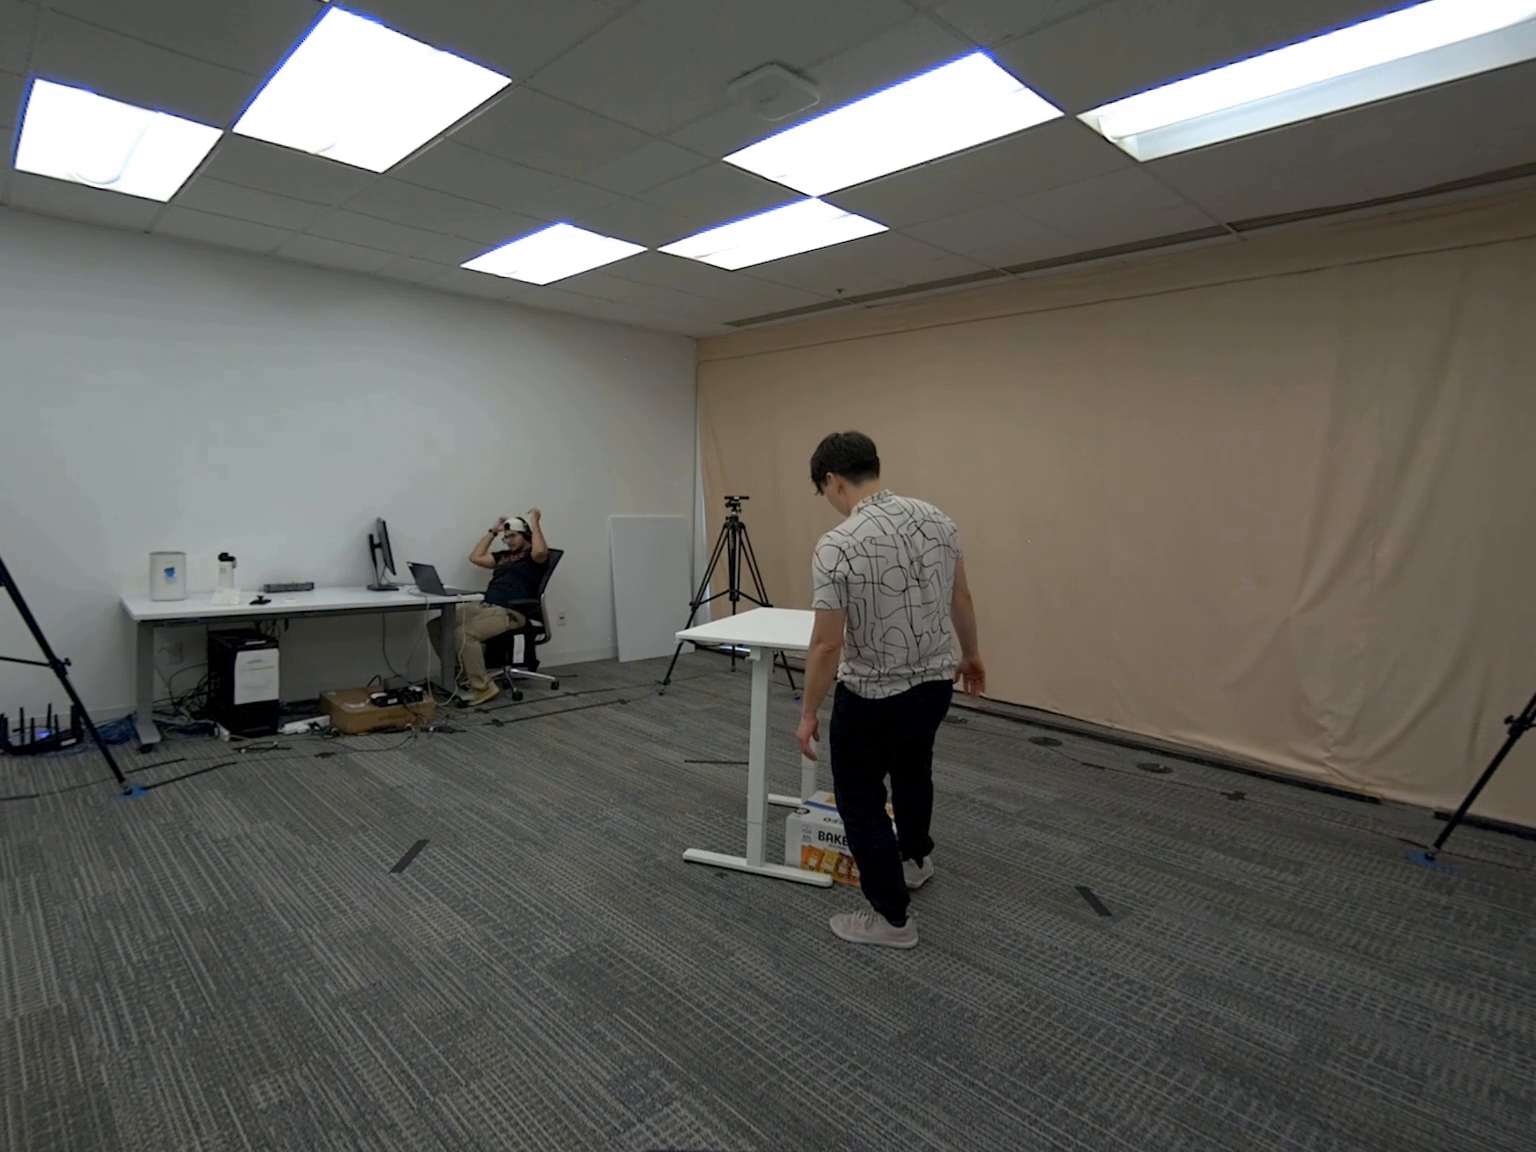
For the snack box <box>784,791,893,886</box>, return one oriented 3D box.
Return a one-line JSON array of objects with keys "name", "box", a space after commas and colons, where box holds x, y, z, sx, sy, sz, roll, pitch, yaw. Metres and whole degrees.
[{"name": "snack box", "box": [0.311, 1.005, 3.210, 0.413, 0.205, 0.334, 4, 4, 24]}]
